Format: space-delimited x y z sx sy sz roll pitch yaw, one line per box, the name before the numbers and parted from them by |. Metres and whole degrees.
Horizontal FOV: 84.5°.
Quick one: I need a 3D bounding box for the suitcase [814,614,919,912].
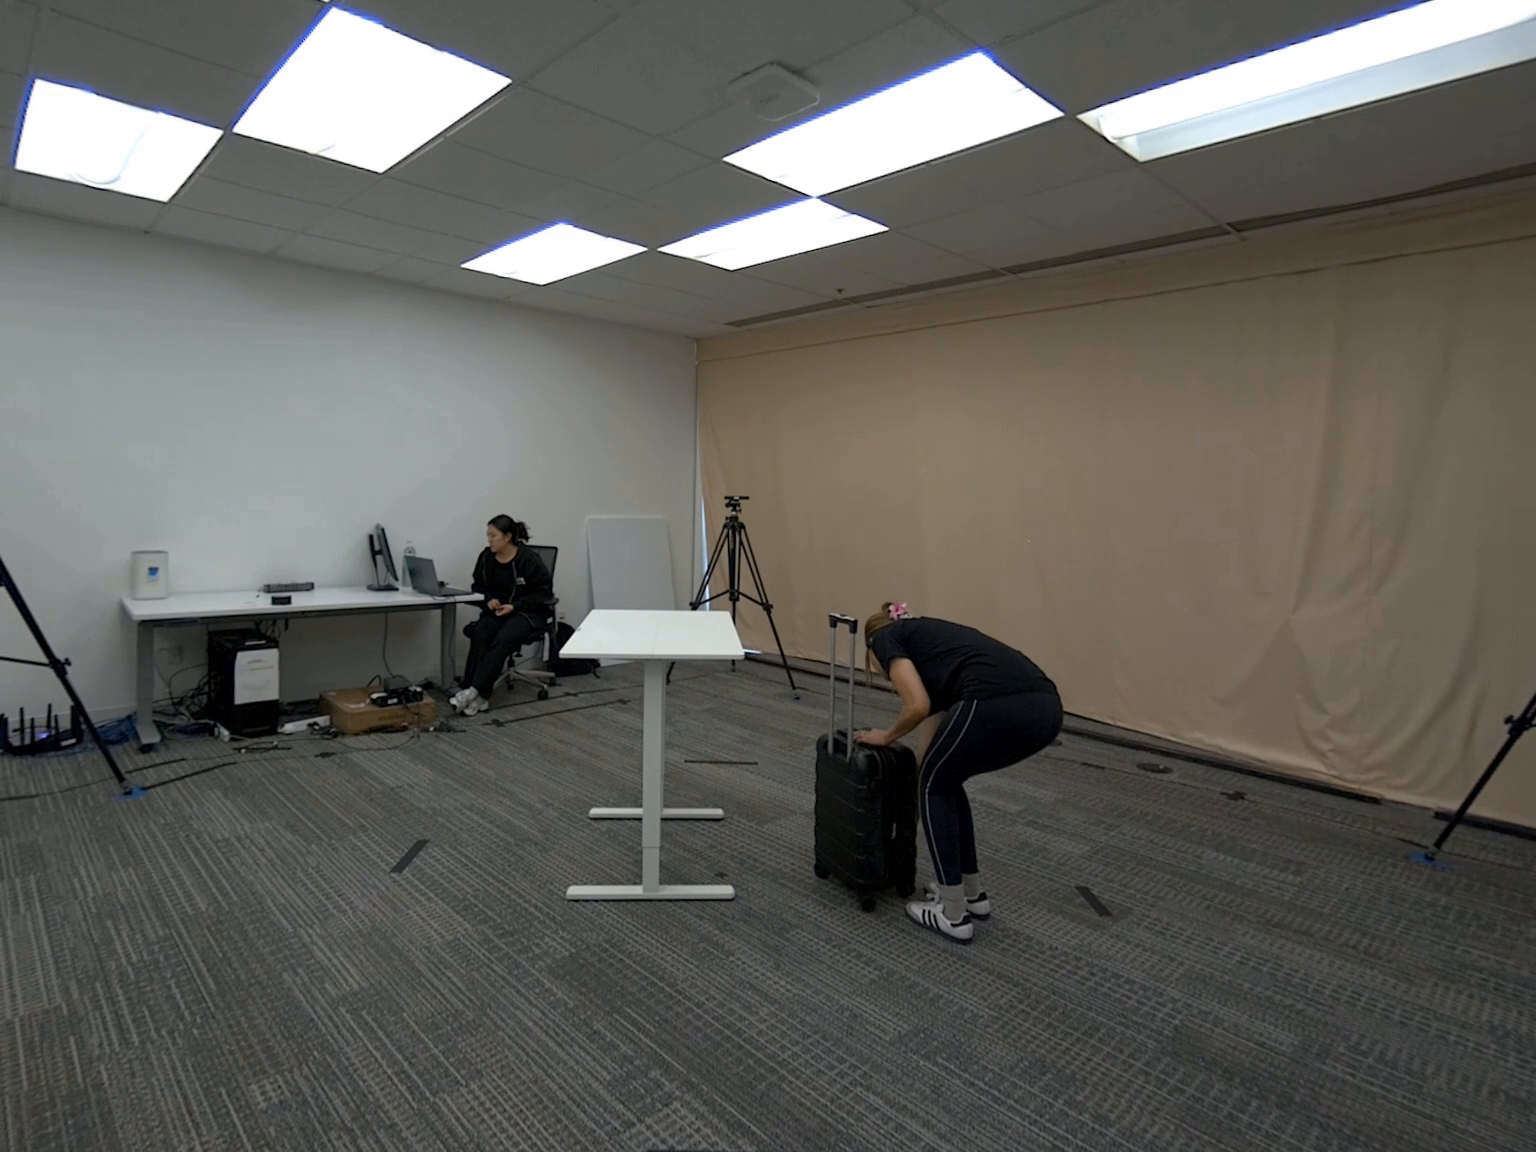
suitcase | 0.335 0.630 3.017 0.253 0.977 0.390 0 3 -20
